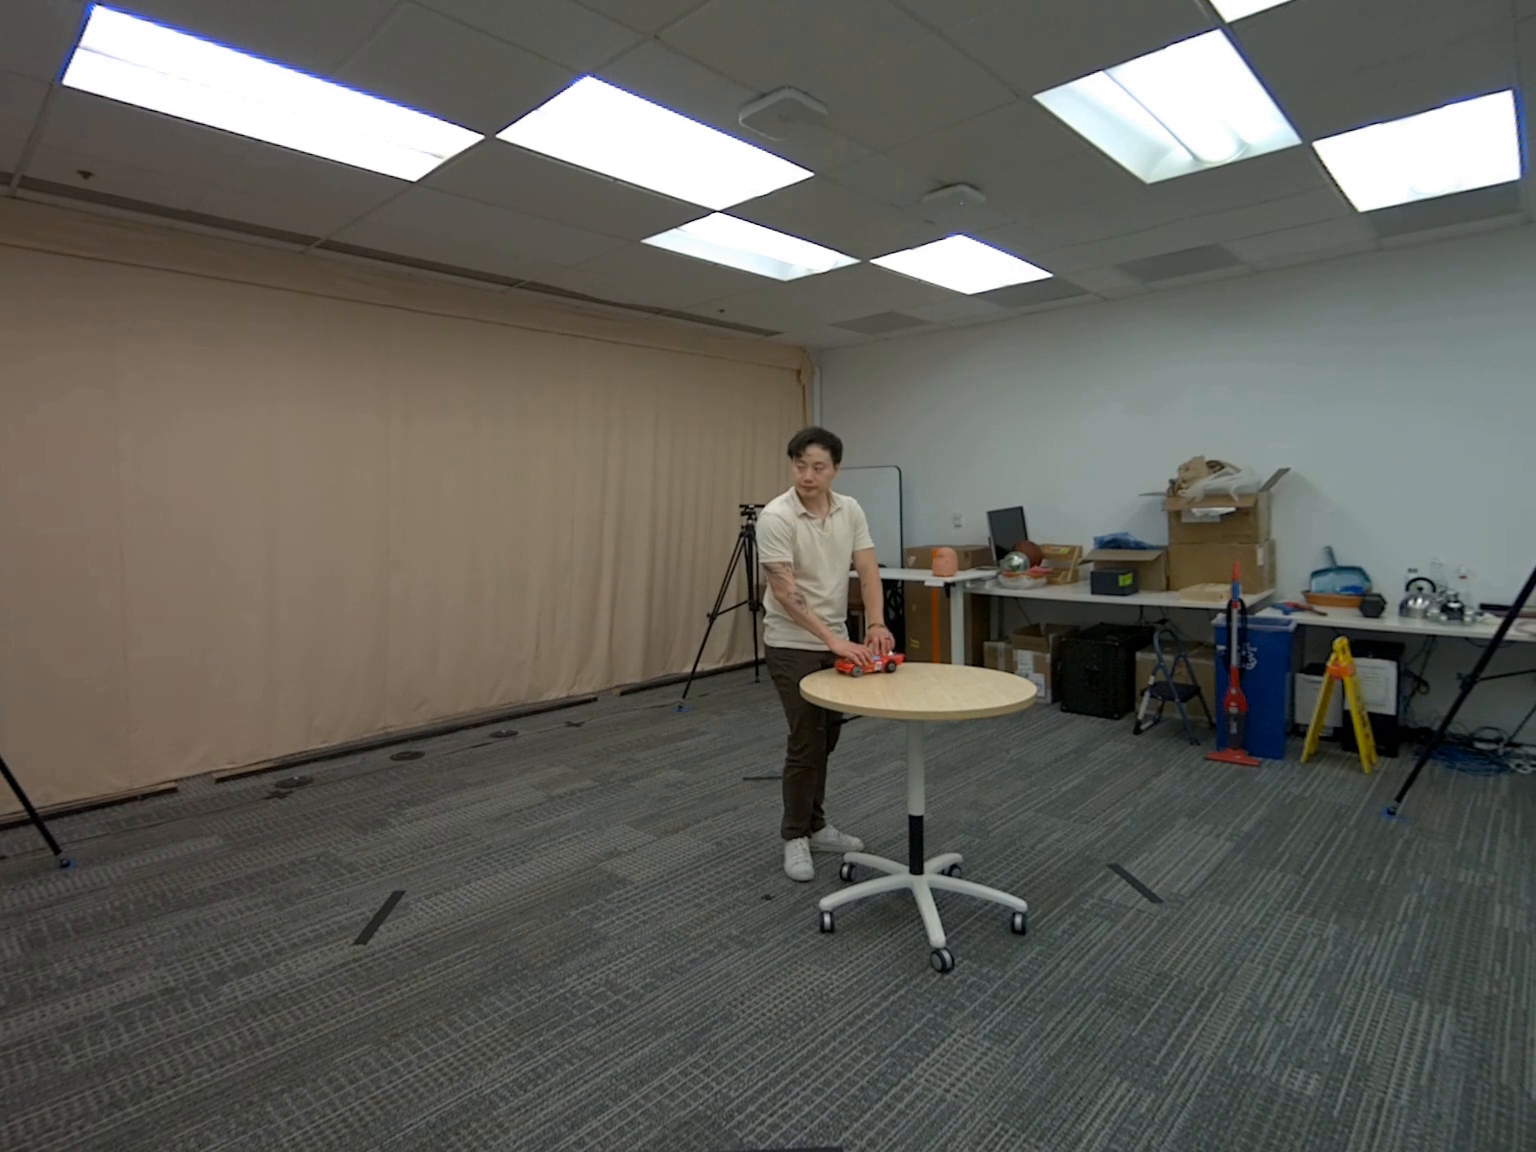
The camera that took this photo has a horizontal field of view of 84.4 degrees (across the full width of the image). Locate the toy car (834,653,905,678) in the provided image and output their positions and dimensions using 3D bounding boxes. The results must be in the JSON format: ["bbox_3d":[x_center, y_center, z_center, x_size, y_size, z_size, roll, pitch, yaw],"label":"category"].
[{"bbox_3d":[0.384,0.315,3.025,0.249,0.083,0.134,-16,9,-25],"label":"toy car"}]
